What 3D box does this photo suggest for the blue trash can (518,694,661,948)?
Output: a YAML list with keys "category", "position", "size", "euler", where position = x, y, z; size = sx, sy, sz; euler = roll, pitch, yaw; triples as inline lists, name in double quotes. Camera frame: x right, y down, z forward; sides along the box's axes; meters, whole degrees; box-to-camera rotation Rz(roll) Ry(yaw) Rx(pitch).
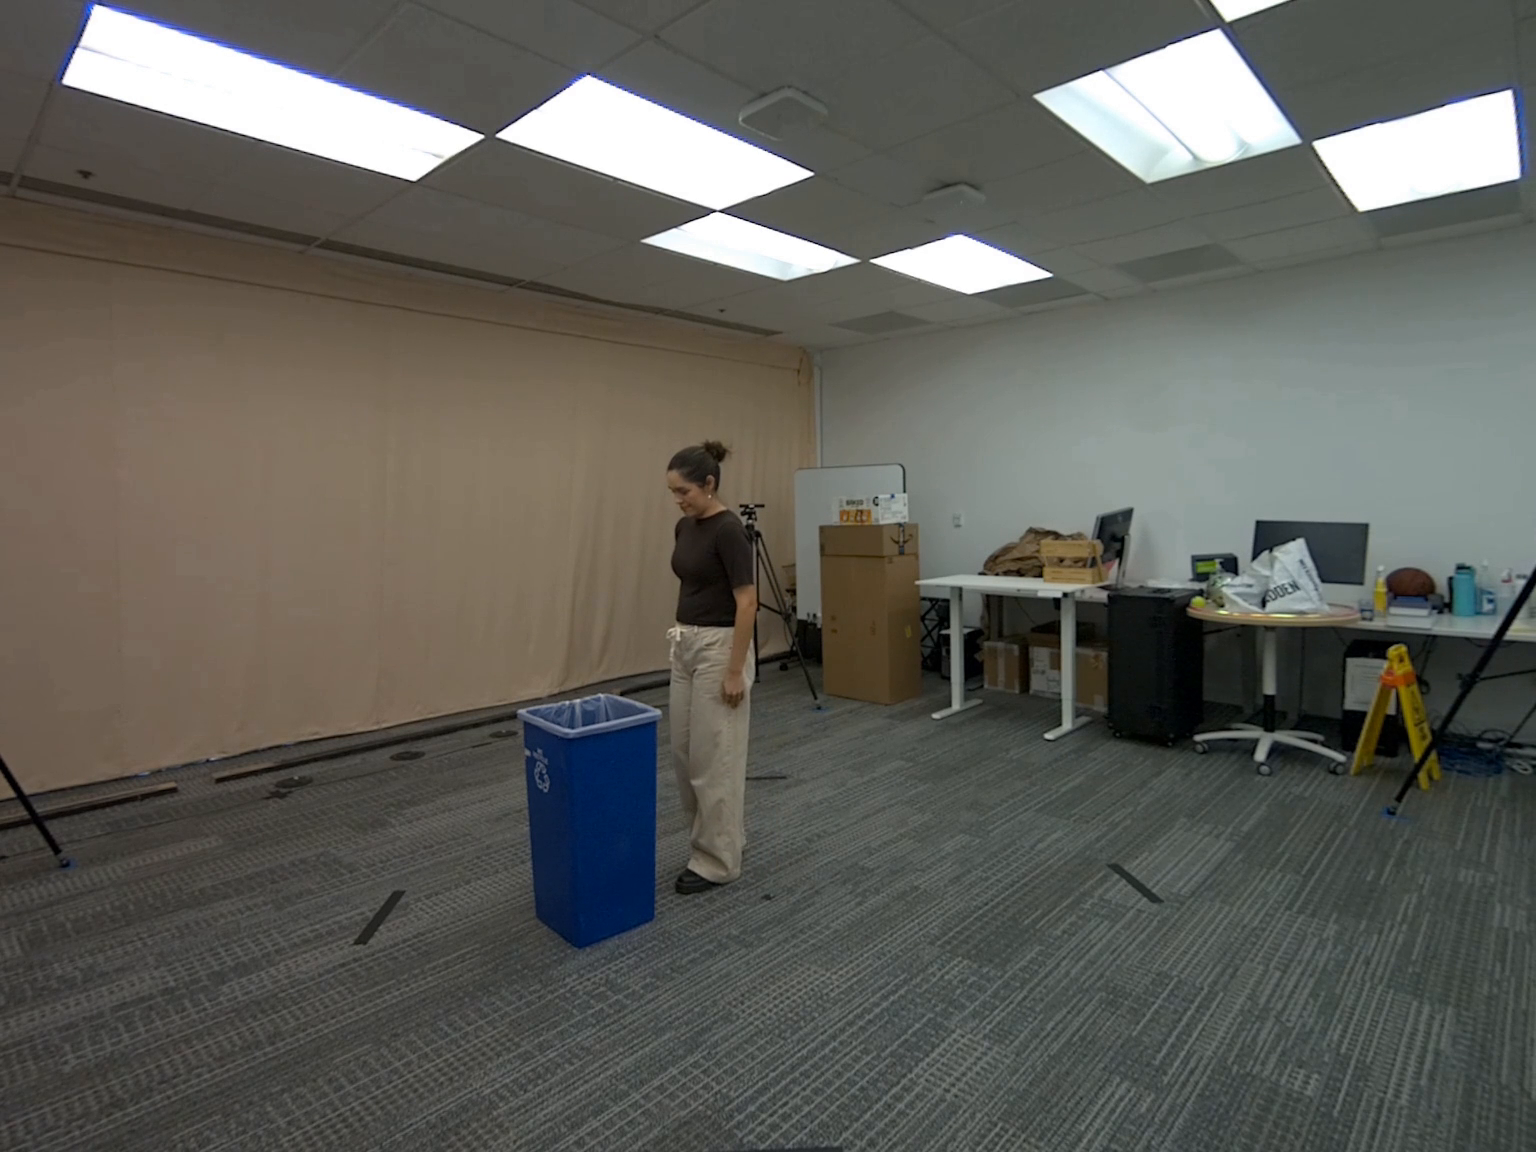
- category: "blue trash can"
  position: [-0.598, 0.808, 2.836]
  size: [0.363, 0.712, 0.390]
  euler: [-3, 4, -41]
